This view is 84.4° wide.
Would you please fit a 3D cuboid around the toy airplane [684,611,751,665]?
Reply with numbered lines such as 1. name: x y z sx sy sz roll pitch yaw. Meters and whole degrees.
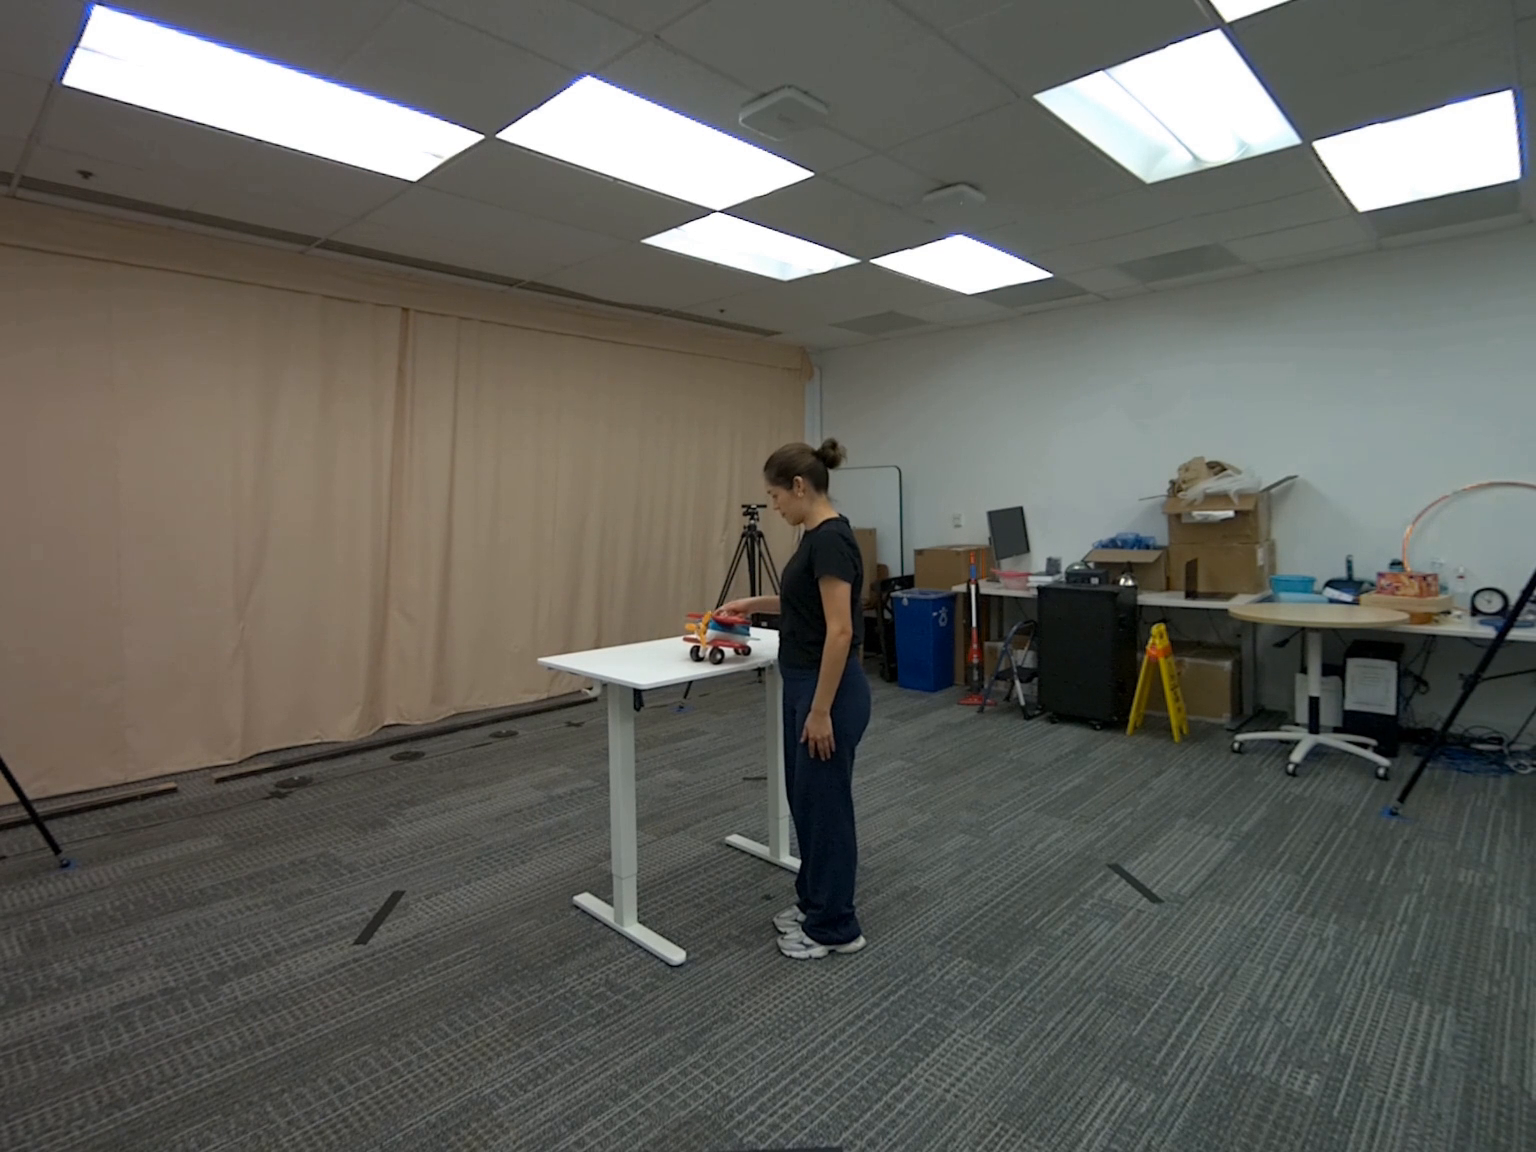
1. toy airplane: -0.145 0.201 2.808 0.255 0.156 0.256 -1 4 12
